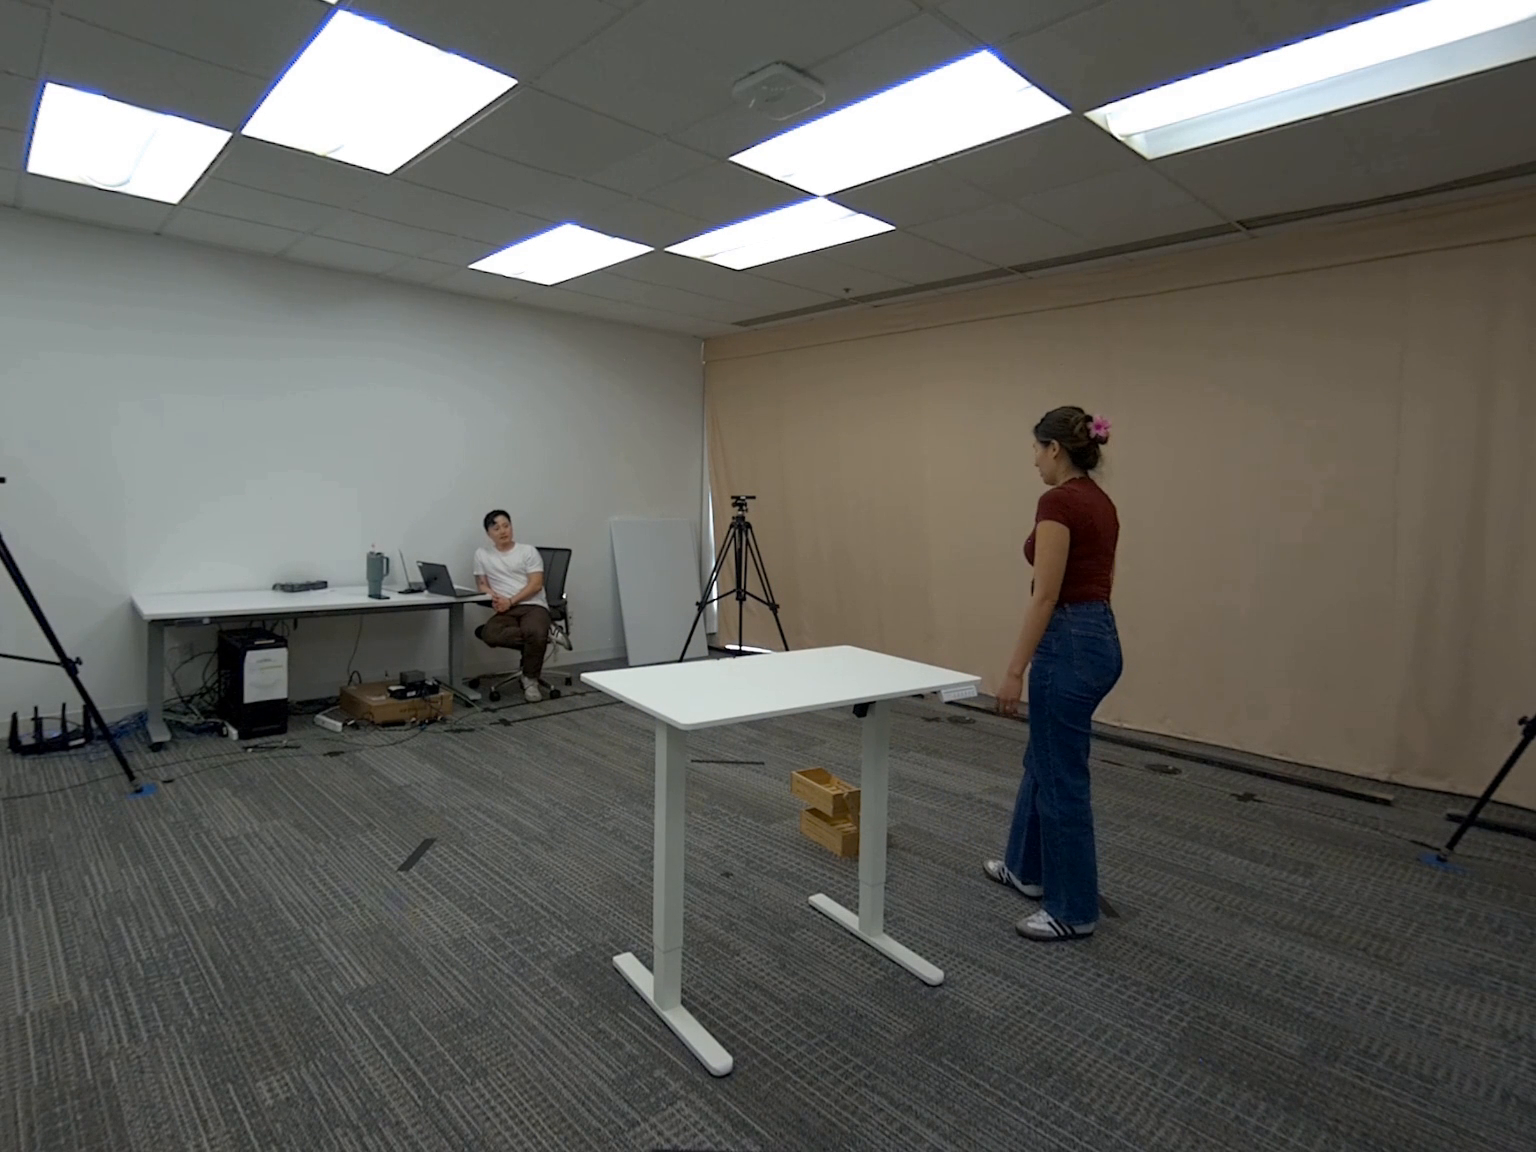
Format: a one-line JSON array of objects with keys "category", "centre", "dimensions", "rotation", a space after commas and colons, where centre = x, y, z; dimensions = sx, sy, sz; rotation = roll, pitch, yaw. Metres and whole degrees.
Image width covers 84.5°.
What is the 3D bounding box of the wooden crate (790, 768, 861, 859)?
[{"category": "wooden crate", "centre": [0.292, 0.948, 3.447], "dimensions": [0.296, 0.272, 0.332], "rotation": [-1, 5, -30]}]
